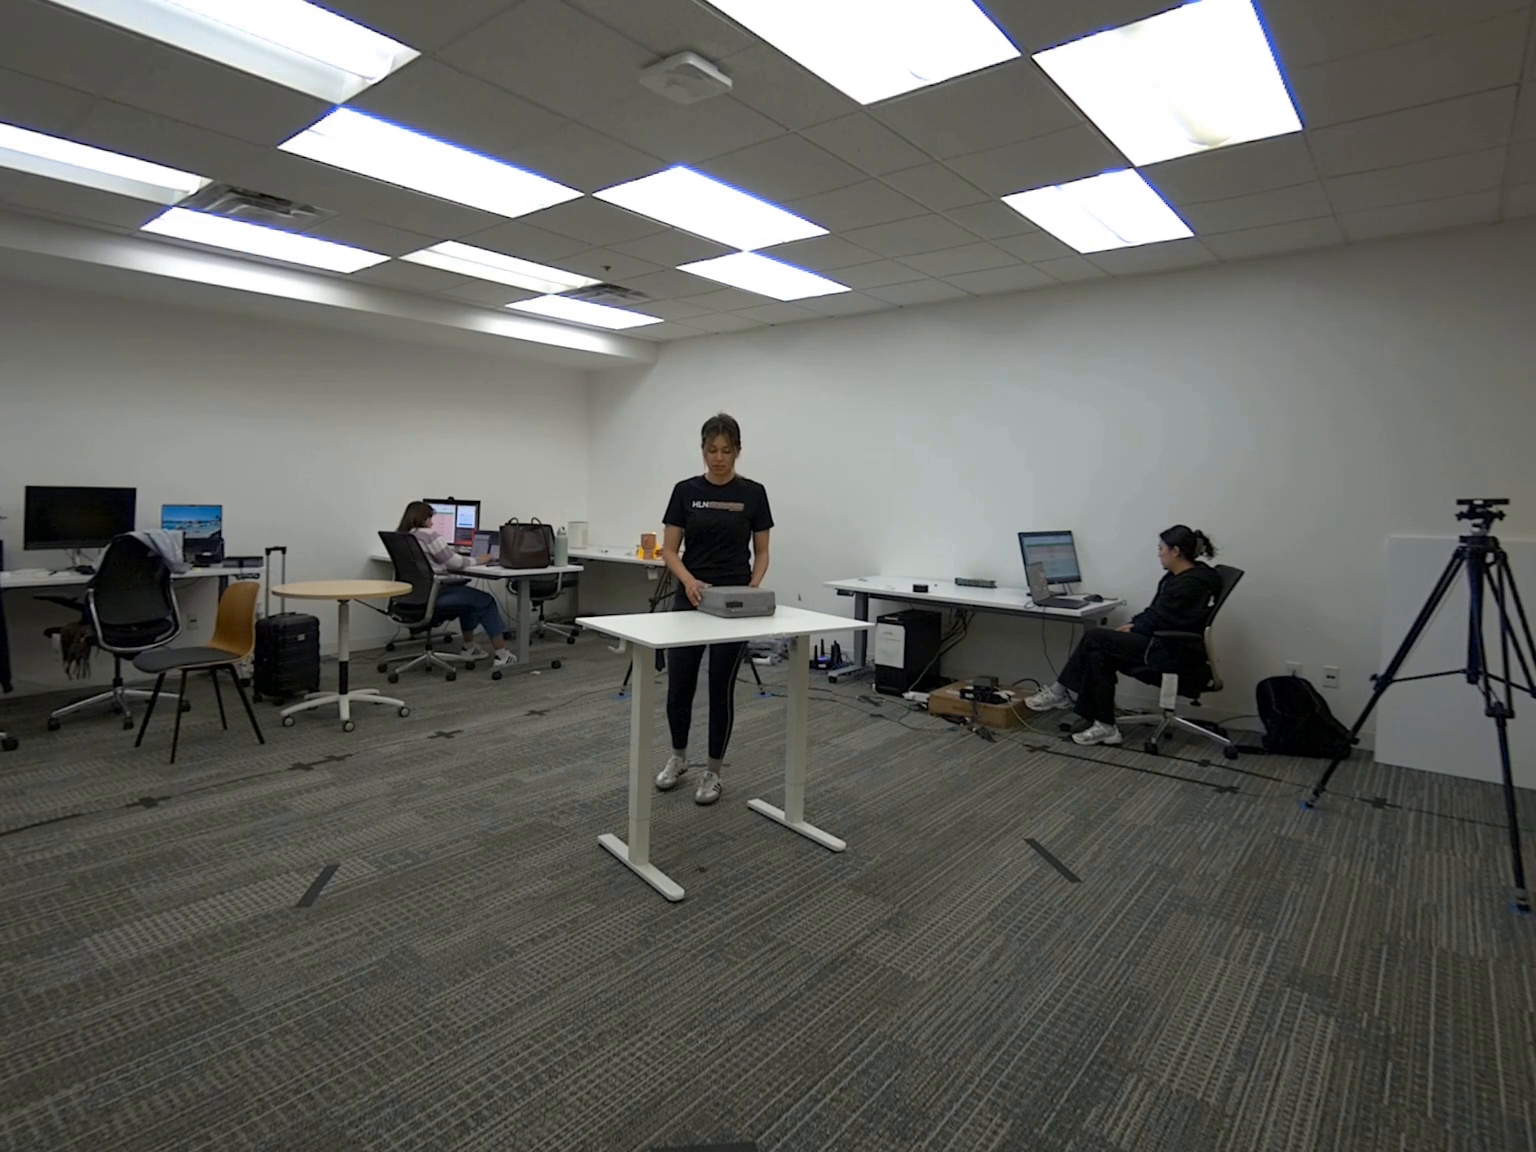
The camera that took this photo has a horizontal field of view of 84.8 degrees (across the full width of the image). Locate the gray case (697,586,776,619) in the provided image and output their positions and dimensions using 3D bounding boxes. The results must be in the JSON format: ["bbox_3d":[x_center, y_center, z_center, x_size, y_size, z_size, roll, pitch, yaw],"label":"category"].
[{"bbox_3d":[-0.143,0.103,3.495,0.250,0.104,0.268,-2,5,-30],"label":"gray case"}]
